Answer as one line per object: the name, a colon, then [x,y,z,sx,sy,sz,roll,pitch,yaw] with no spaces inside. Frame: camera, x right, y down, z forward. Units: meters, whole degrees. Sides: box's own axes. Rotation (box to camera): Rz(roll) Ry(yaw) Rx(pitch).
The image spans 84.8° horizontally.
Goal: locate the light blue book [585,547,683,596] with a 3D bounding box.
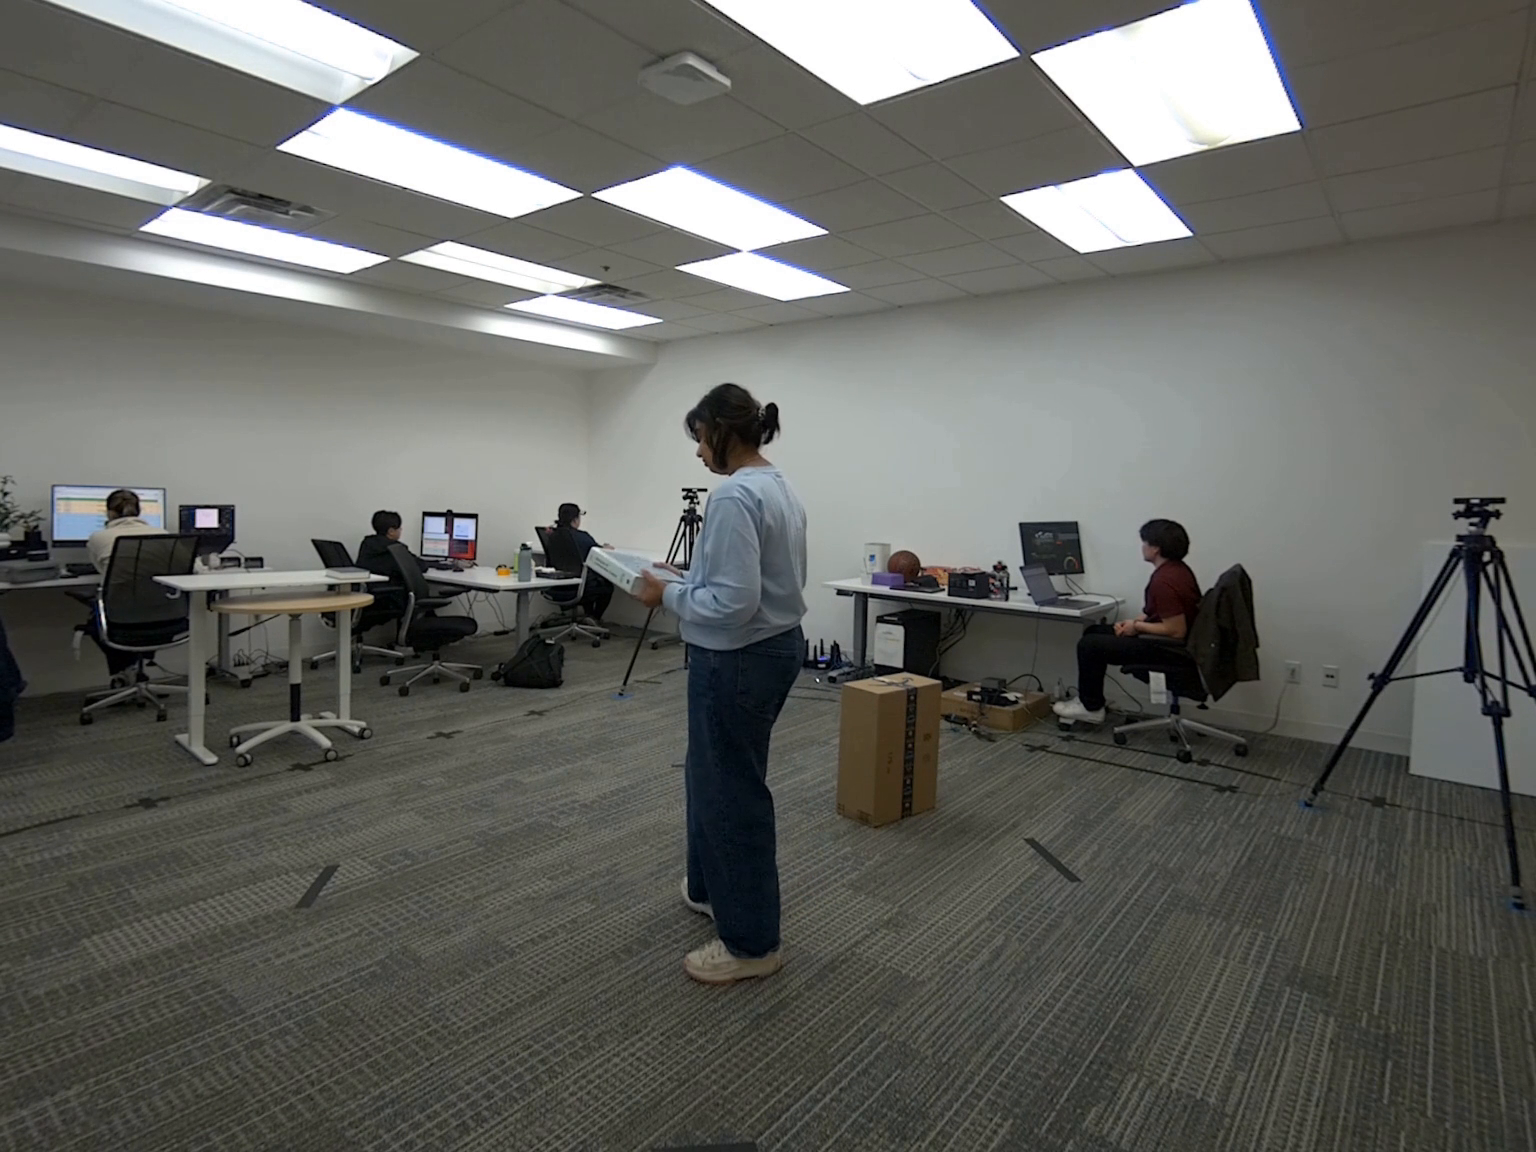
light blue book: [-0.403,-0.013,2.498,0.184,0.059,0.272,9,11,-42]
